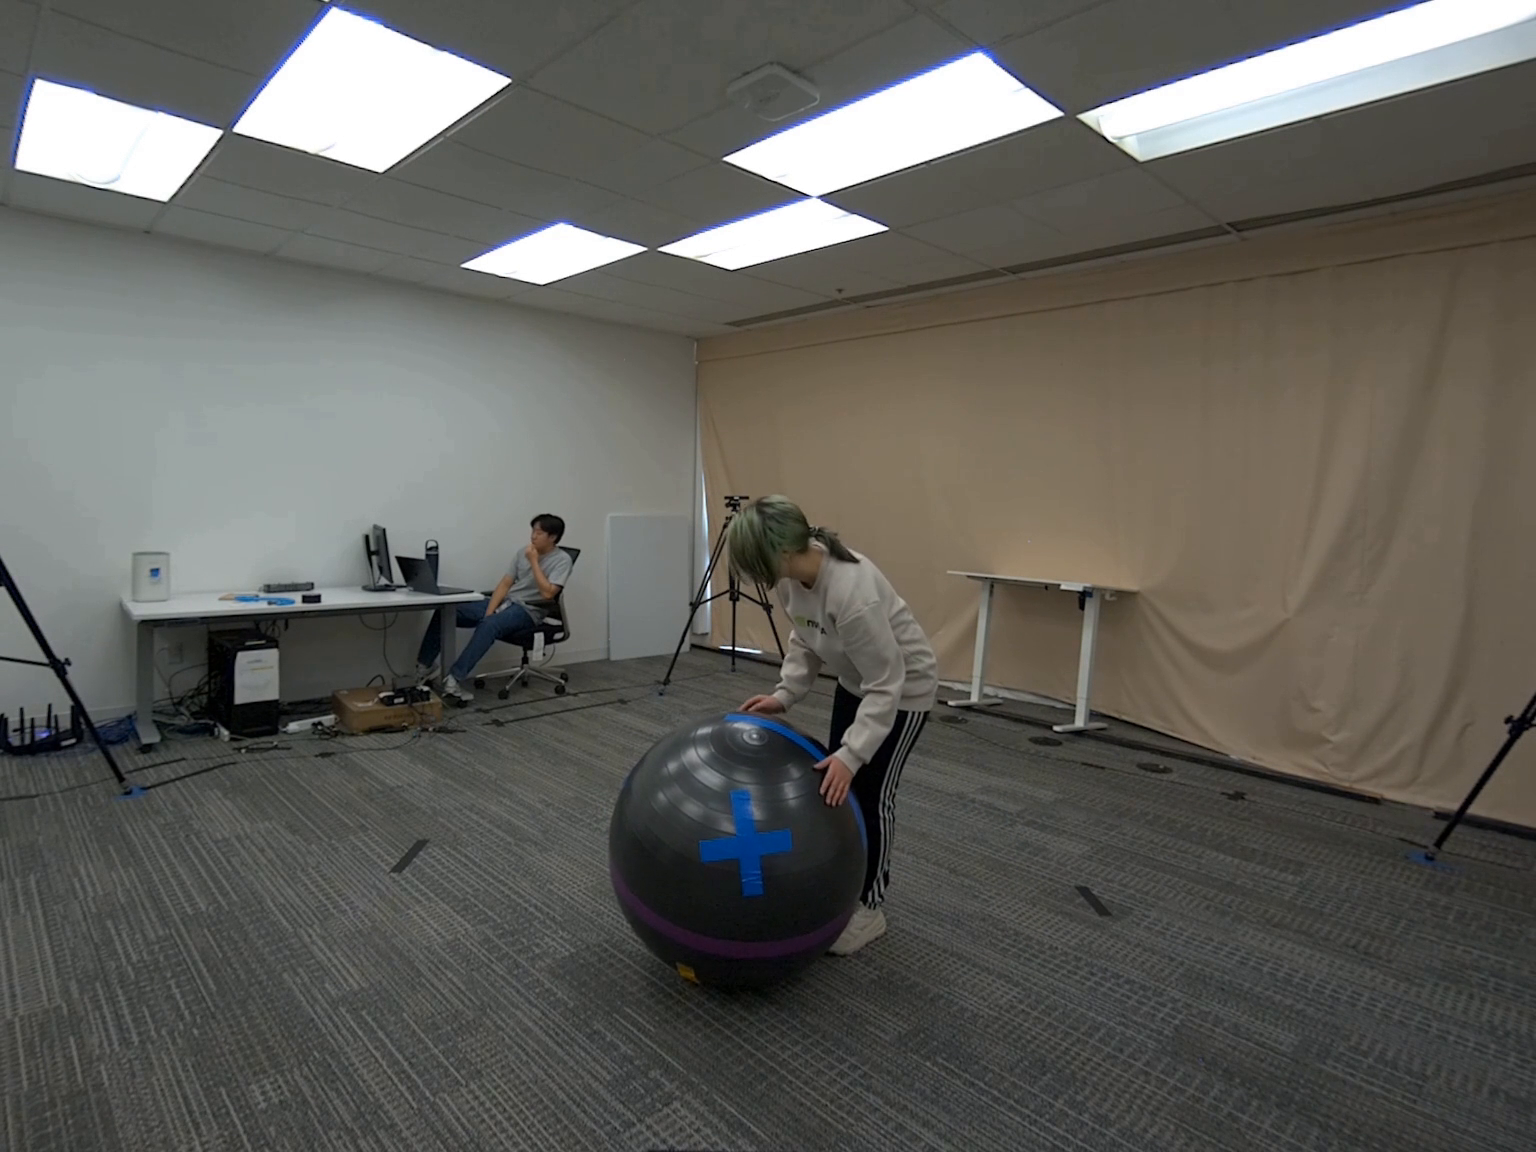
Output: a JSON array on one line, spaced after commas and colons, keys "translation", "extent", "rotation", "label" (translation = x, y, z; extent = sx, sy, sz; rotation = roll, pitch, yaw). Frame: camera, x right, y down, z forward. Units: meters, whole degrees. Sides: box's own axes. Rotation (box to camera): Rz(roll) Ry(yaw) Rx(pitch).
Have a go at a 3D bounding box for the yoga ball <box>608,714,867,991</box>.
[{"translation": [-0.092, 0.794, 2.472], "extent": [0.757, 0.756, 0.761], "rotation": [1, 4, -1], "label": "yoga ball"}]
